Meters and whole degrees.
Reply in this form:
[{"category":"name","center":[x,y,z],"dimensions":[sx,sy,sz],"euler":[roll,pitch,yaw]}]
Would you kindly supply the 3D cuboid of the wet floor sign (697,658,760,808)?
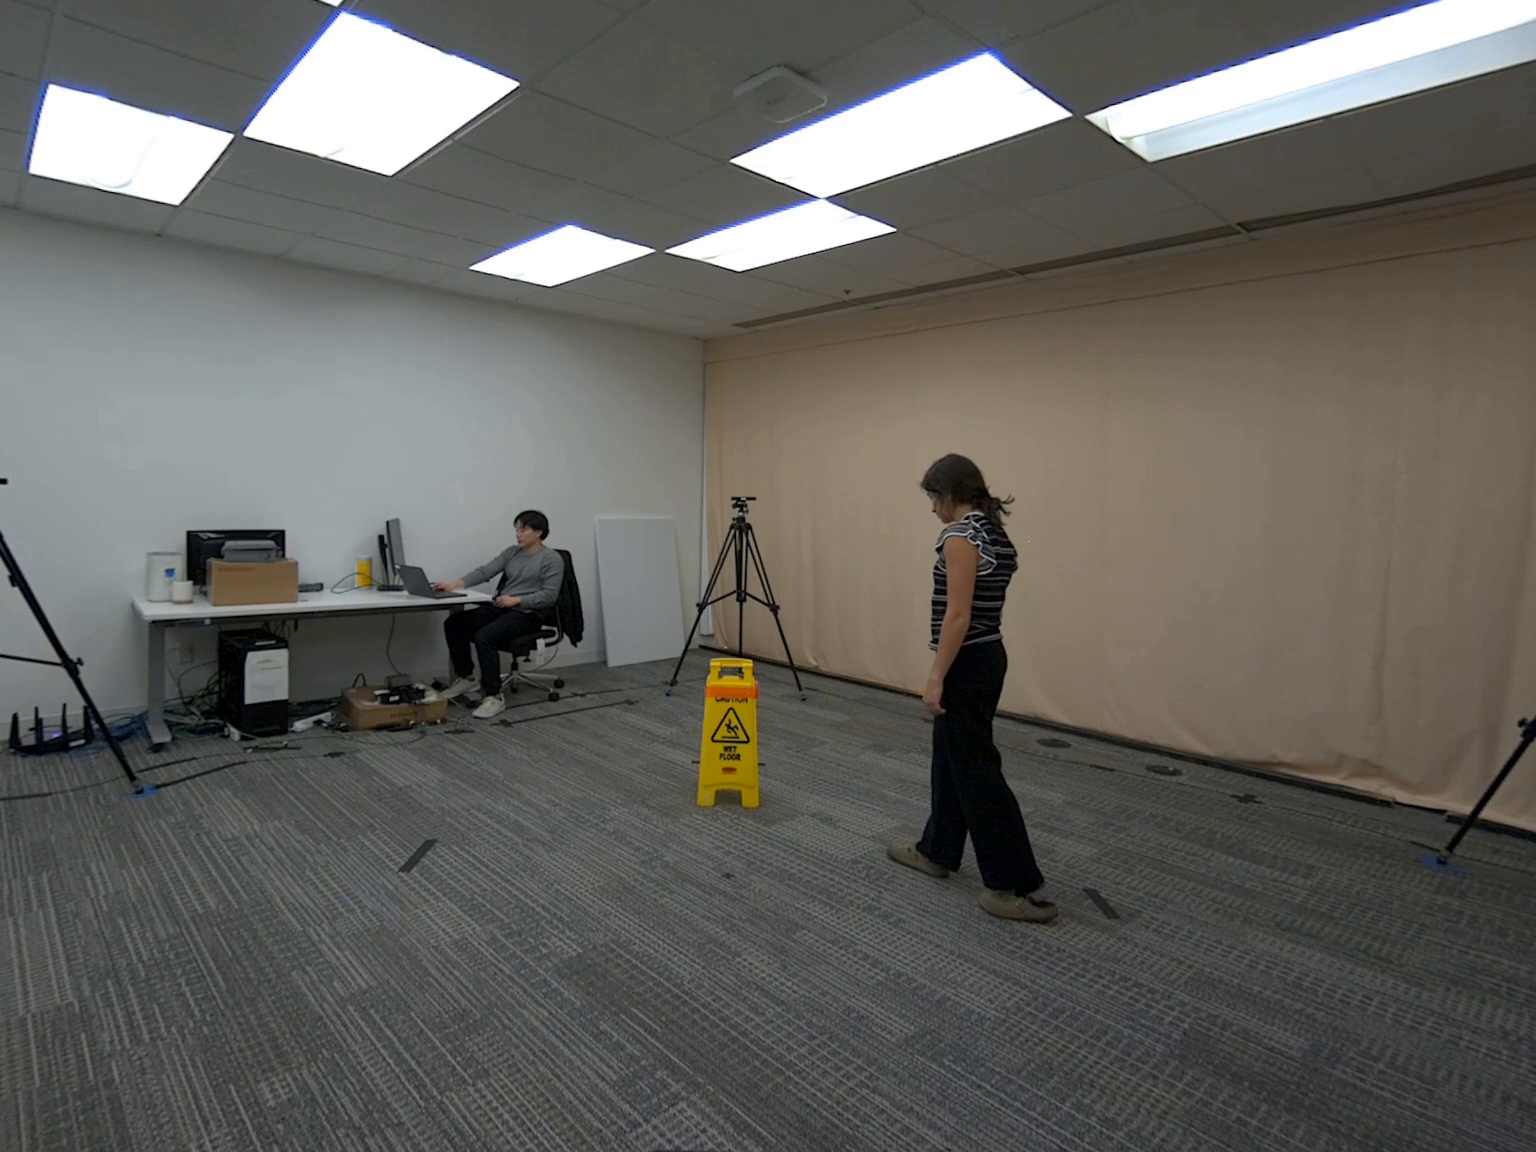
[{"category":"wet floor sign","center":[-0.186,0.709,3.927],"dimensions":[0.282,0.645,0.291],"euler":[3,3,-2]}]
